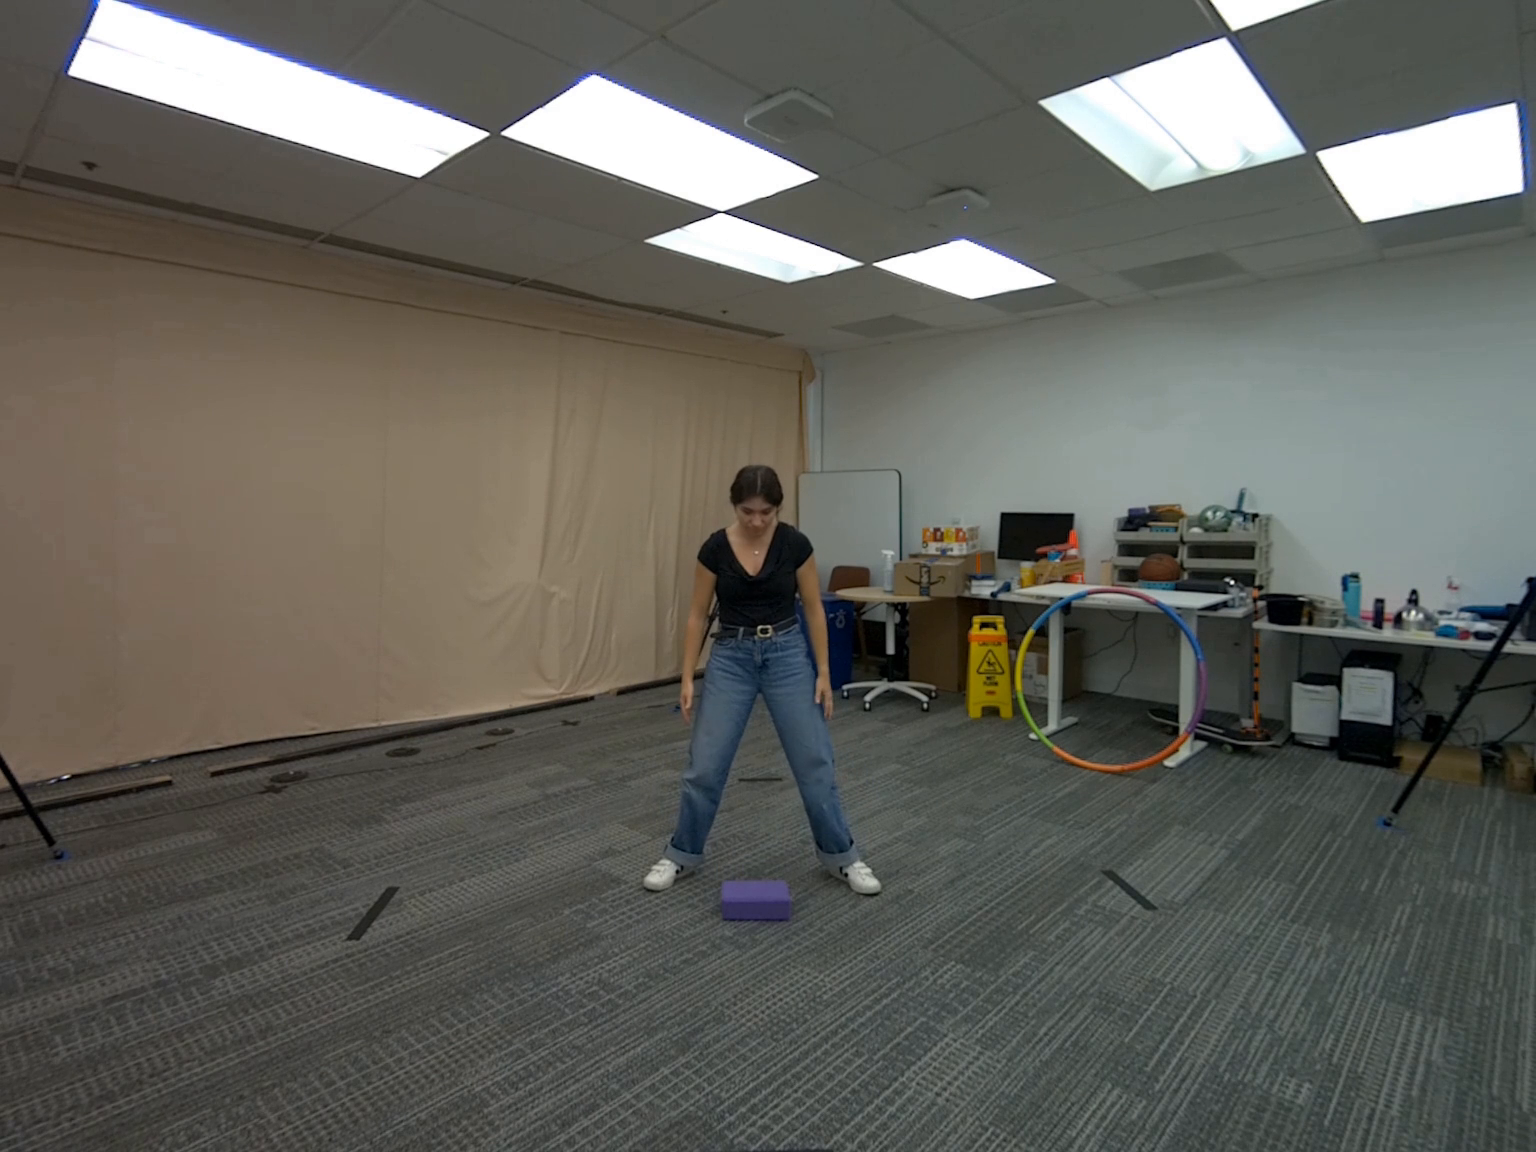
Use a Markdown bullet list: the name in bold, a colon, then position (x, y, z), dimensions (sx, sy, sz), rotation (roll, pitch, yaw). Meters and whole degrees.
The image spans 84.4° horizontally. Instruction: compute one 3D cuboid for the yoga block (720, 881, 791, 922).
- **yoga block**: position (-0.036, 1.113, 2.889), dimensions (0.229, 0.076, 0.149), rotation (-1, 5, 0)
